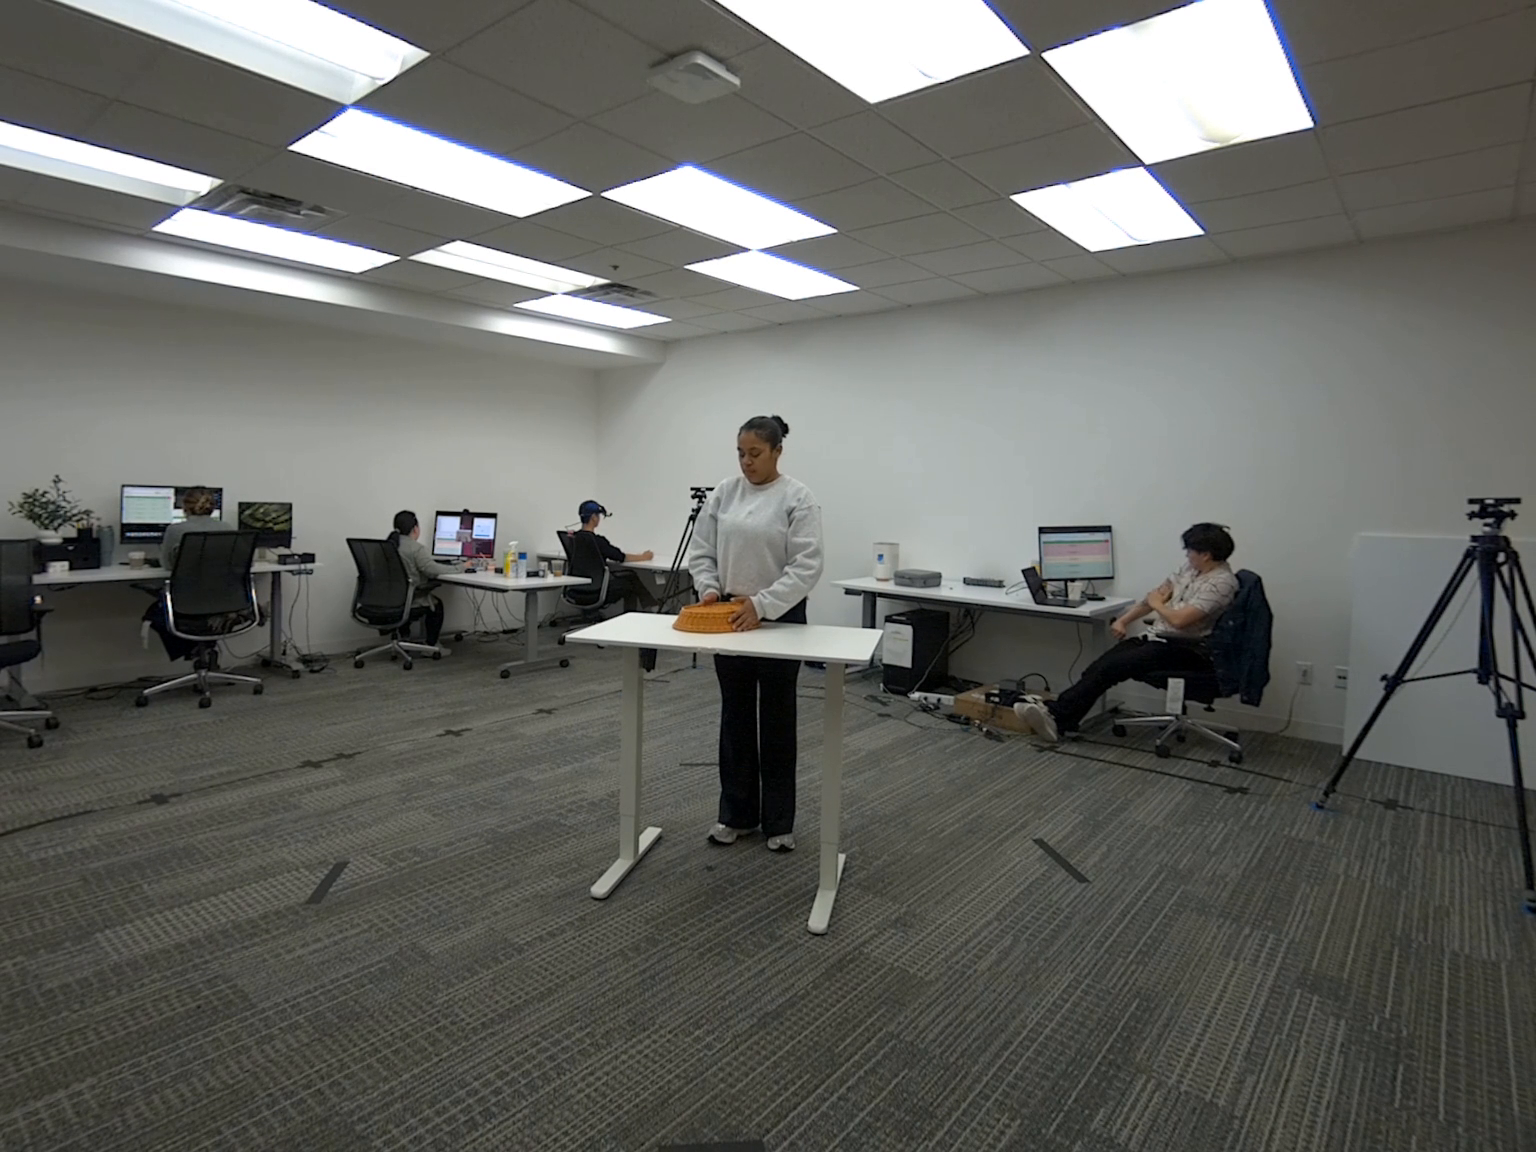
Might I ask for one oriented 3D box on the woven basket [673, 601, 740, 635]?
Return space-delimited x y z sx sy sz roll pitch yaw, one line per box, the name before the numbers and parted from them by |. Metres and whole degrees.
woven basket | -0.223 0.139 3.127 0.253 0.073 0.351 1 7 1
